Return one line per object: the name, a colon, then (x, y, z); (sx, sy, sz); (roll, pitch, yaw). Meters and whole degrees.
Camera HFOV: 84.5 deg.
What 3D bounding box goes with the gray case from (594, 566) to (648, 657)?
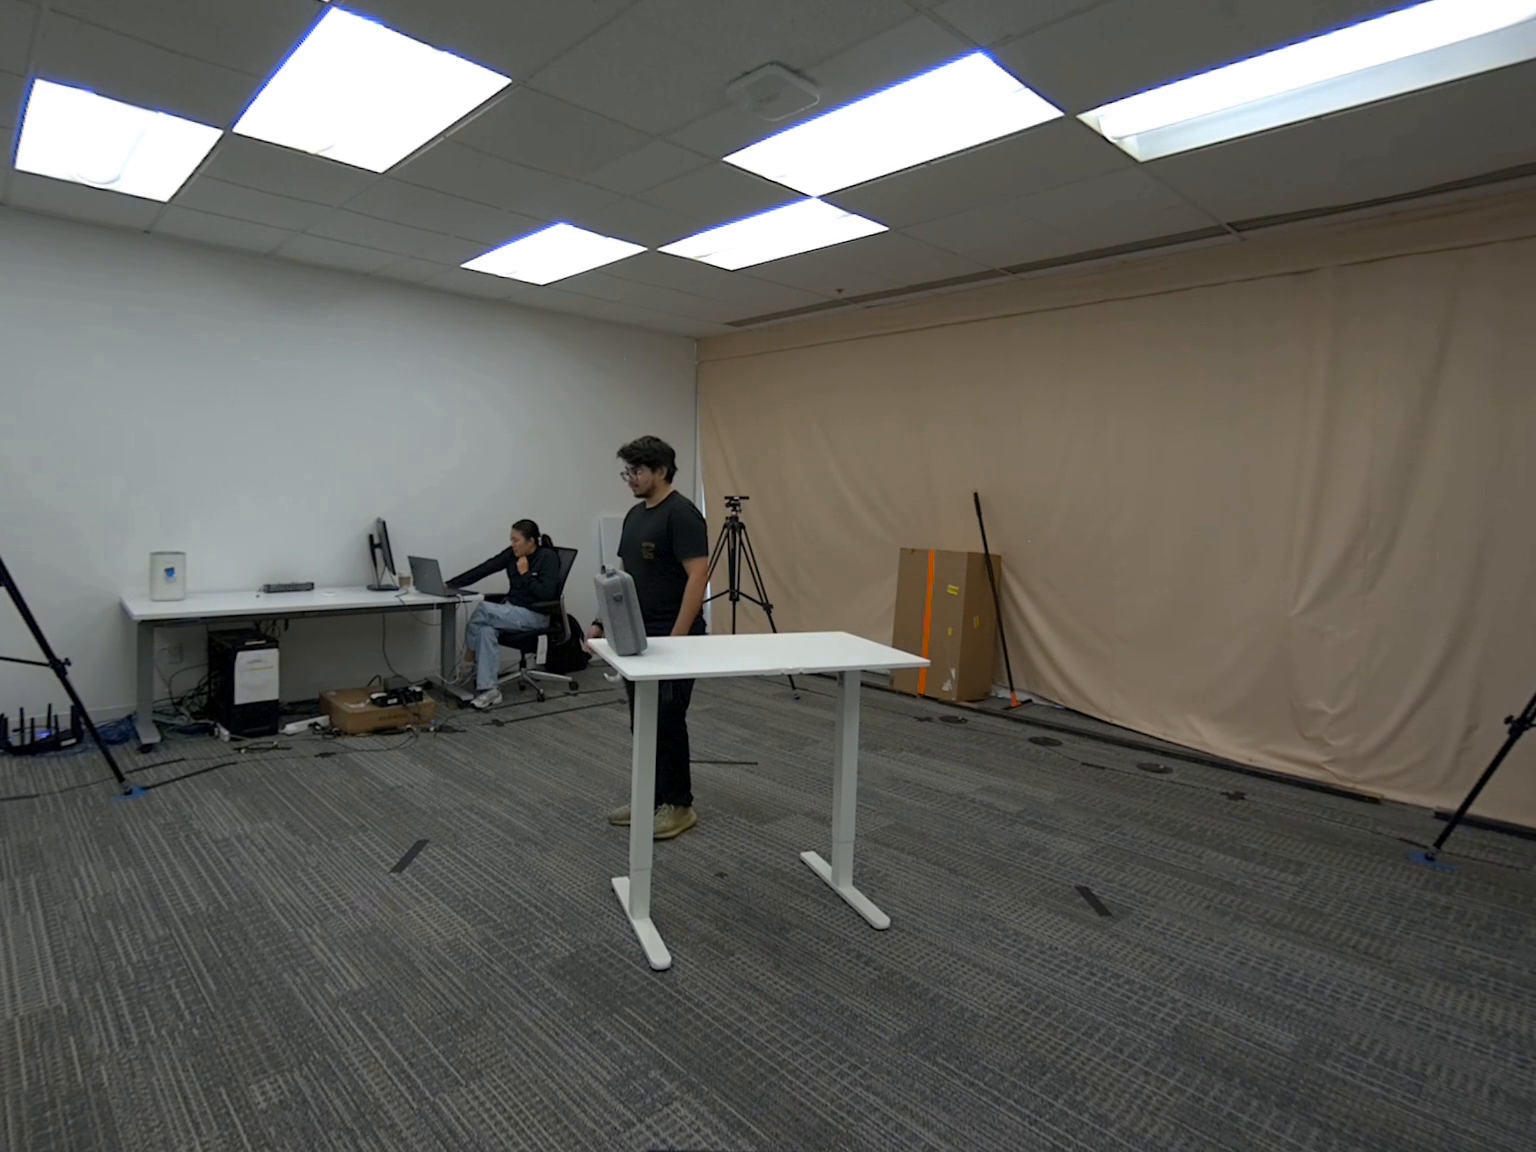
gray case: (-0.501, 0.120, 2.730); (0.103, 0.259, 0.261); (-10, 8, -18)
